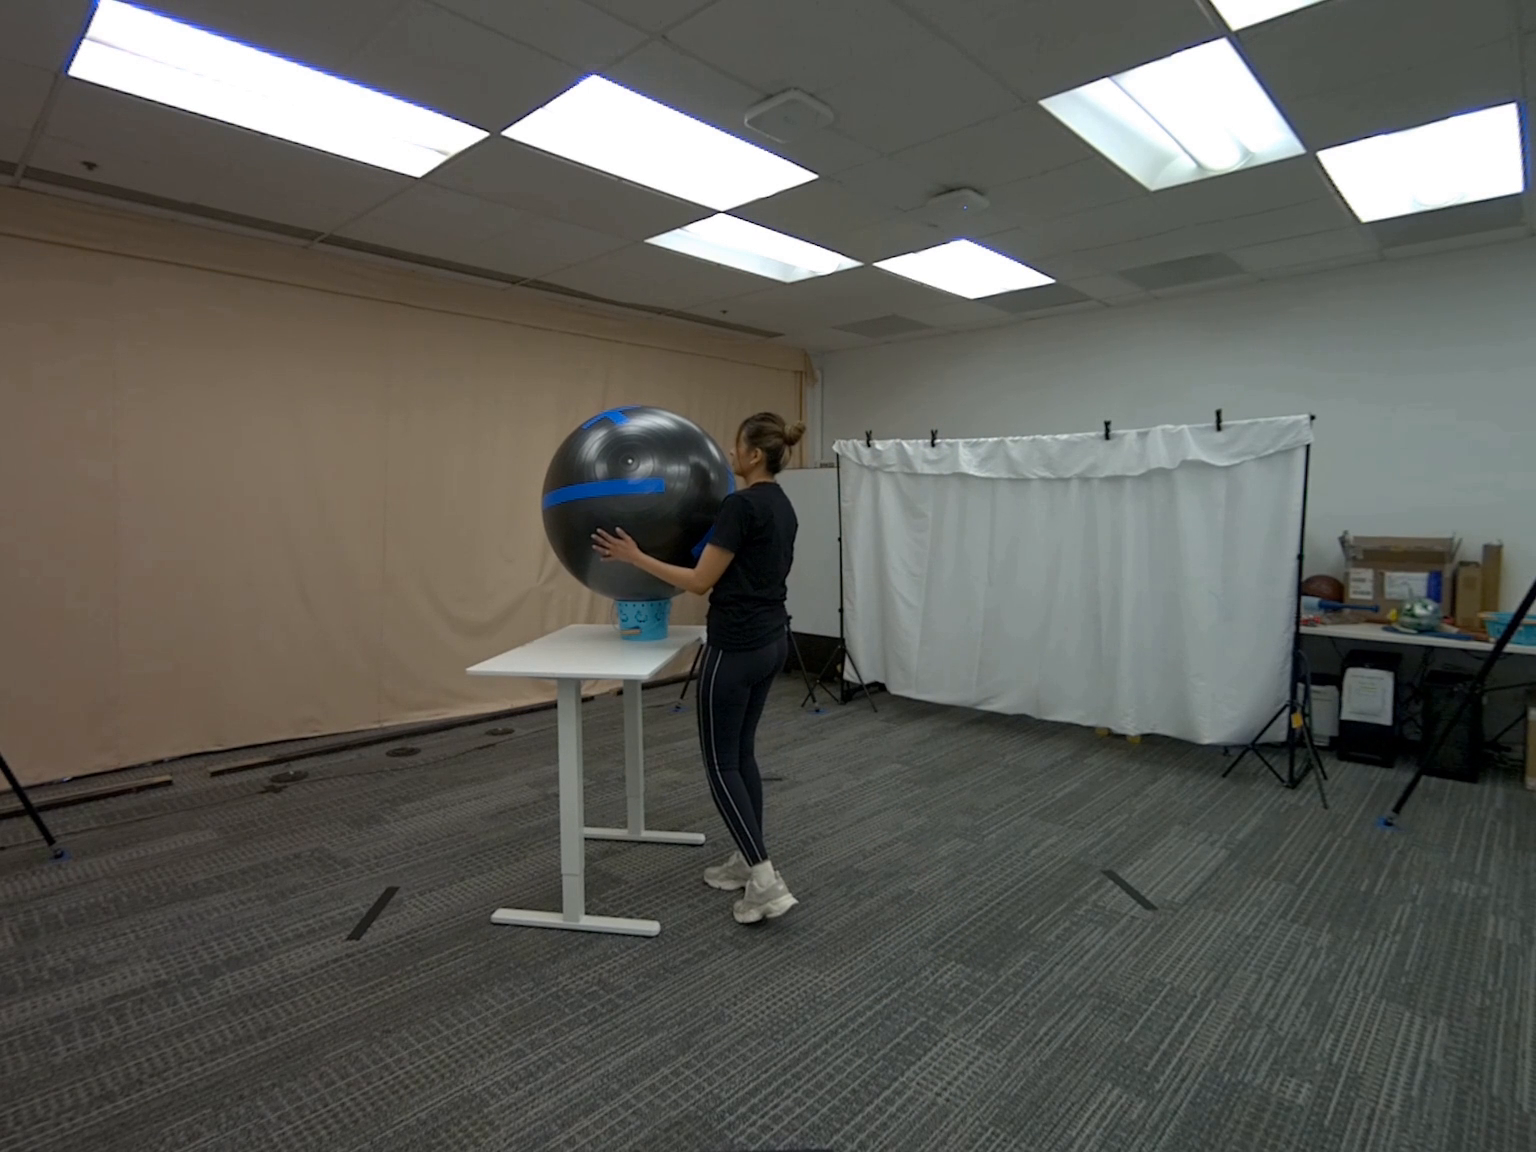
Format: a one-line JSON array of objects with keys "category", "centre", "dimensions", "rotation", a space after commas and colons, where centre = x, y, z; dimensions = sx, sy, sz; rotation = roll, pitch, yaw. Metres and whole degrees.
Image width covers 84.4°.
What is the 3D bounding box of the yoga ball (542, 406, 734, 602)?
[{"category": "yoga ball", "centre": [-0.494, -0.272, 3.270], "dimensions": [0.757, 0.756, 0.761], "rotation": [0, 4, -2]}]
